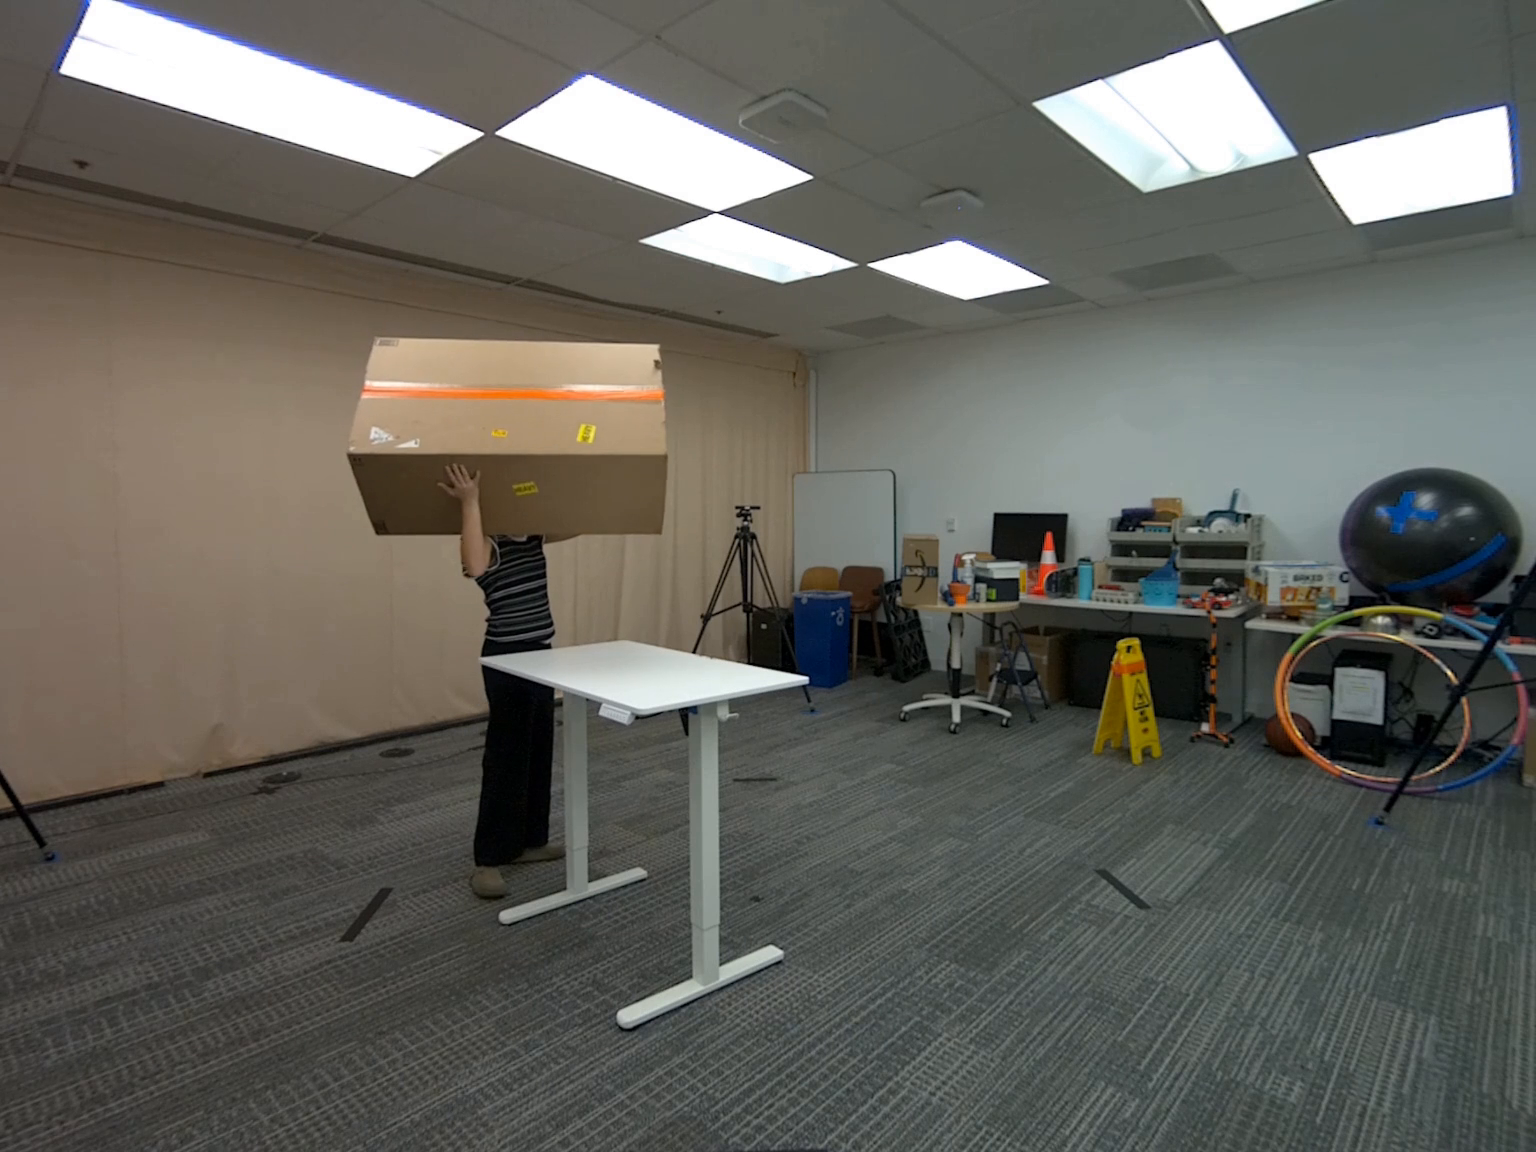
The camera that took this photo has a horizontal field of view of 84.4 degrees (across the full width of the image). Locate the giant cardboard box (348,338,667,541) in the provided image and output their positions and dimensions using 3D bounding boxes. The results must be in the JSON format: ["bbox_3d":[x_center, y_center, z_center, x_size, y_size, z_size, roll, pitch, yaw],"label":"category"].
[{"bbox_3d":[-0.892,-0.498,3.047,1.018,0.590,0.420,-1,-37,-7],"label":"giant cardboard box"}]
